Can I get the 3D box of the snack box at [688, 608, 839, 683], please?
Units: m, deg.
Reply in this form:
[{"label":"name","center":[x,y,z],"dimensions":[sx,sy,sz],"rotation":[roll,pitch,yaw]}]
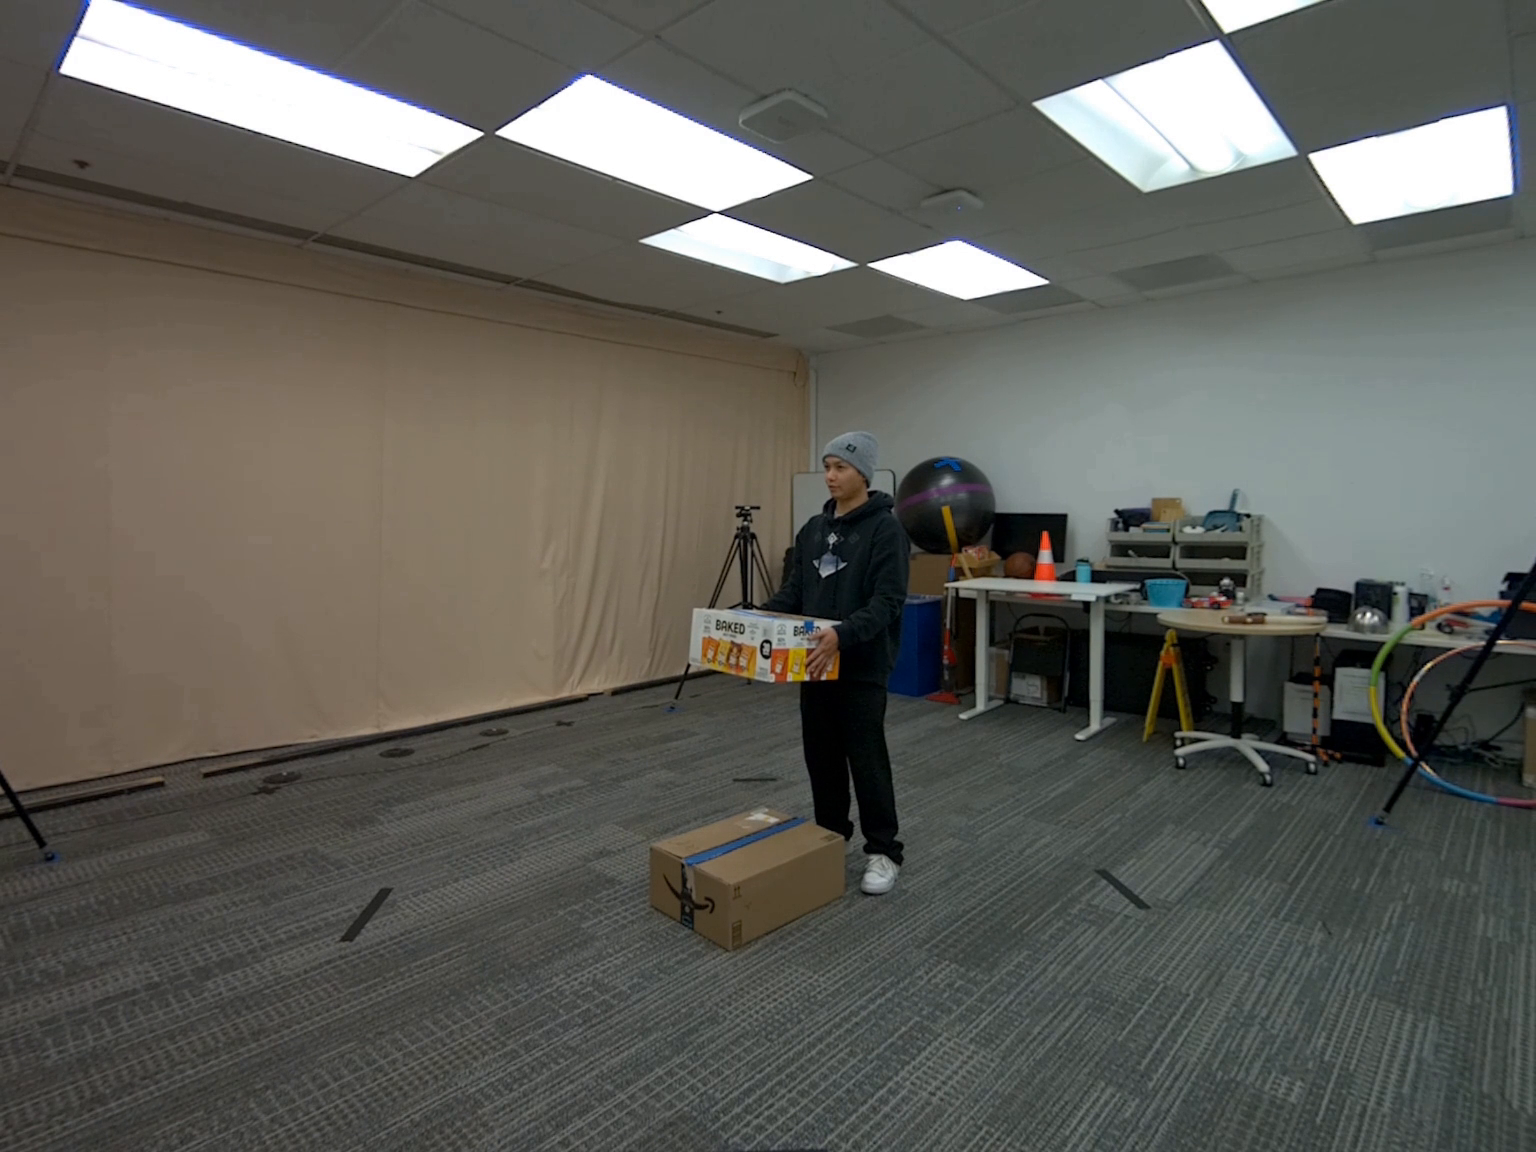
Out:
[{"label":"snack box","center":[-0.011,0.239,2.966],"dimensions":[0.329,0.206,0.419],"rotation":[5,0,-43]}]
